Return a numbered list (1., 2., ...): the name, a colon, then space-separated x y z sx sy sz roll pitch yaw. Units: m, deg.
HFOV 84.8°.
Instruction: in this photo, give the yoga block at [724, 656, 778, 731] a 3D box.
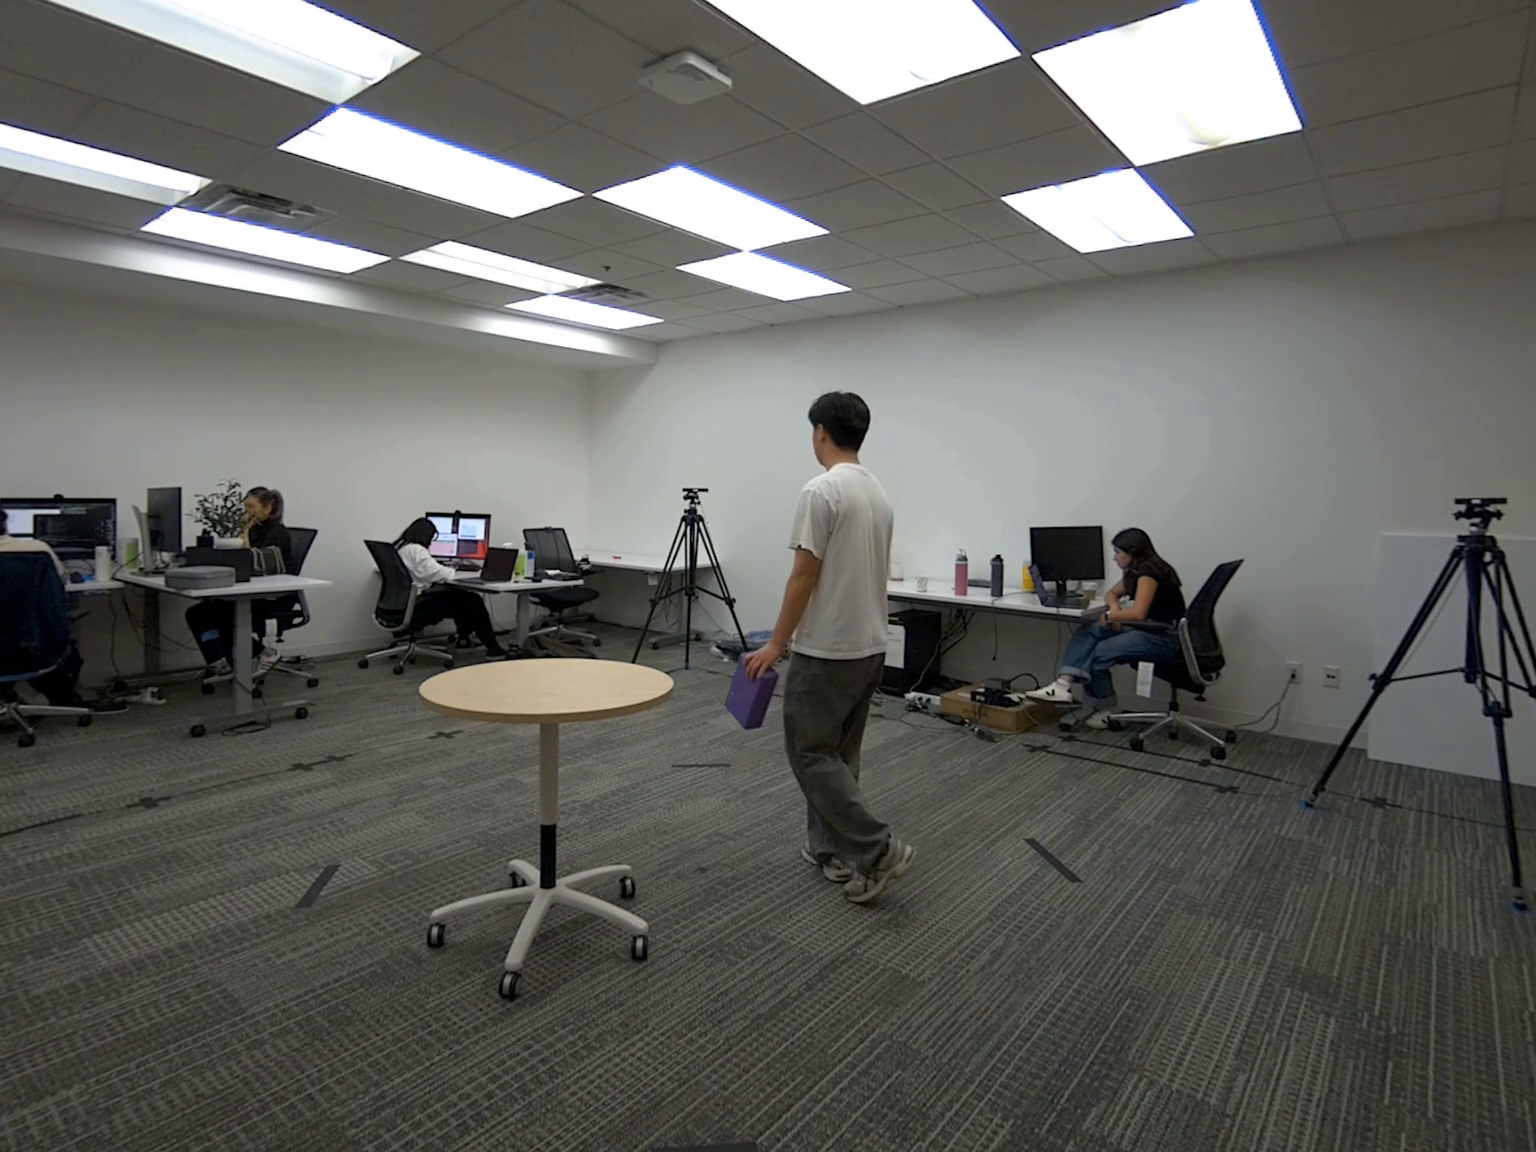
1. yoga block: -0.053 0.394 2.960 0.074 0.226 0.155 0 27 -39
